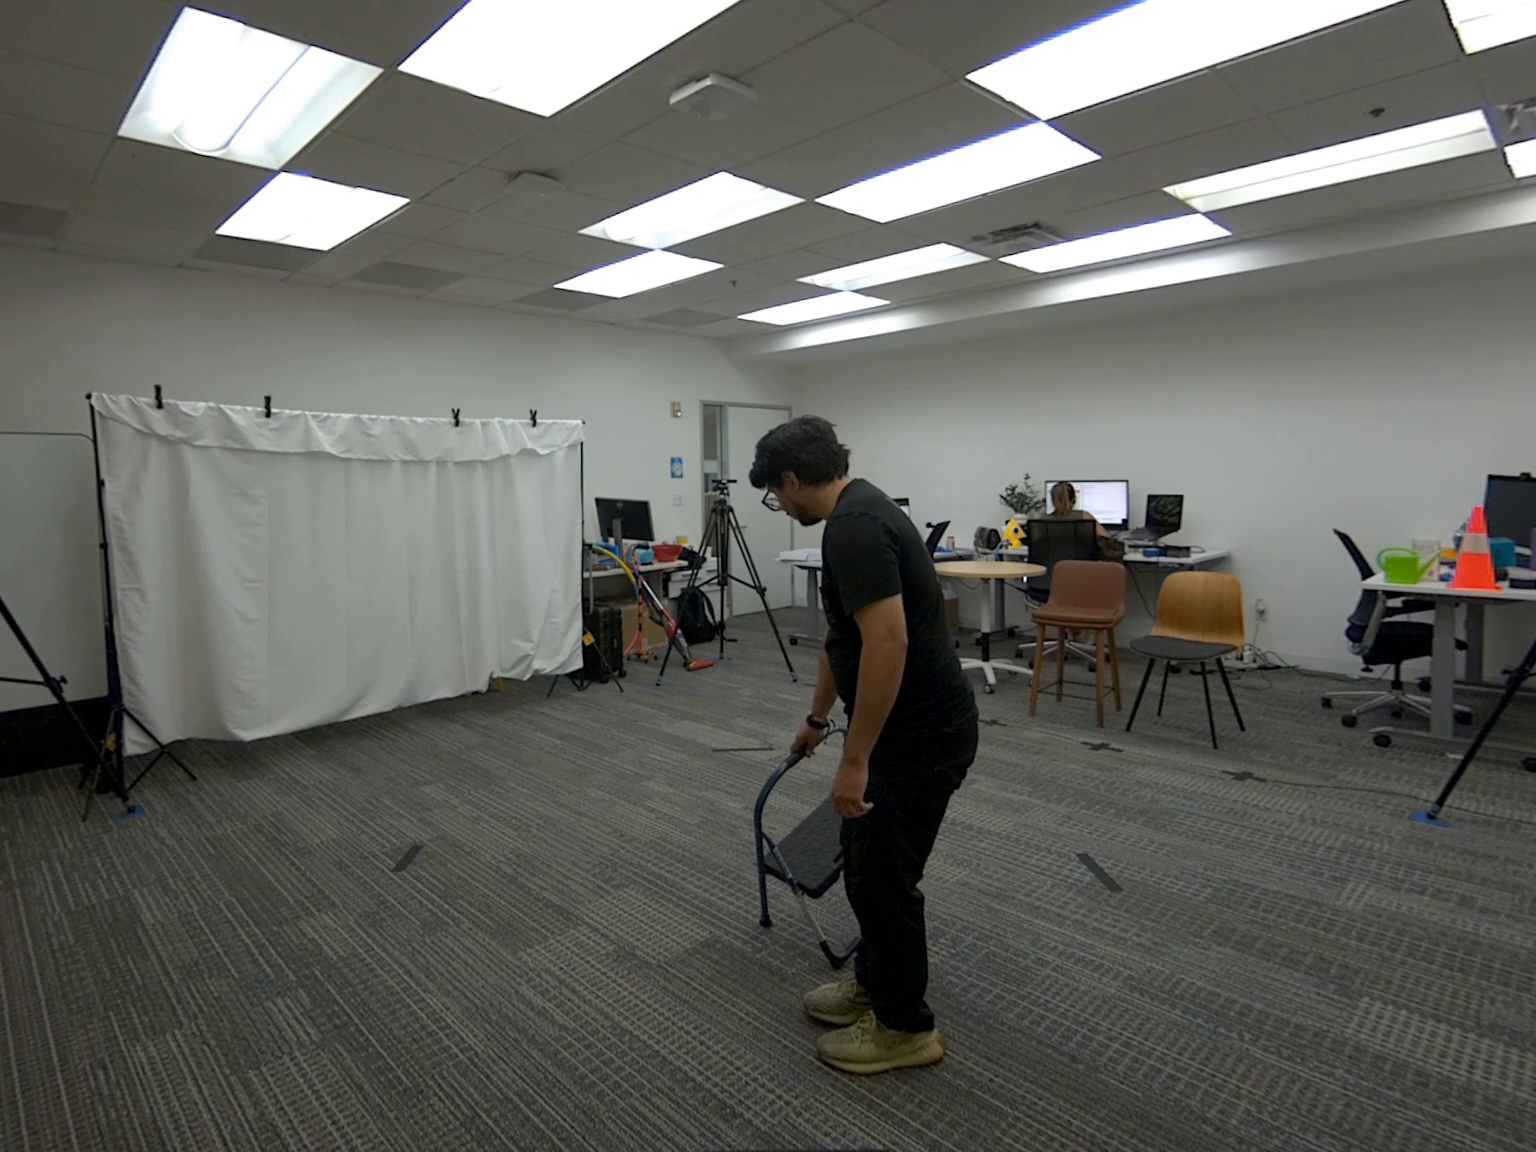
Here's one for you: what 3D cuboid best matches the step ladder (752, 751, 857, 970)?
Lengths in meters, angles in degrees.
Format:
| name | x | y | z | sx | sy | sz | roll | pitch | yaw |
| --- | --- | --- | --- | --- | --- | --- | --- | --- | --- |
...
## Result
| name | x | y | z | sx | sy | sz | roll | pitch | yaw |
| --- | --- | --- | --- | --- | --- | --- | --- | --- | --- |
| step ladder | 0.143 | 0.750 | 2.578 | 0.427 | 0.593 | 0.360 | -34 | 23 | -34 |
